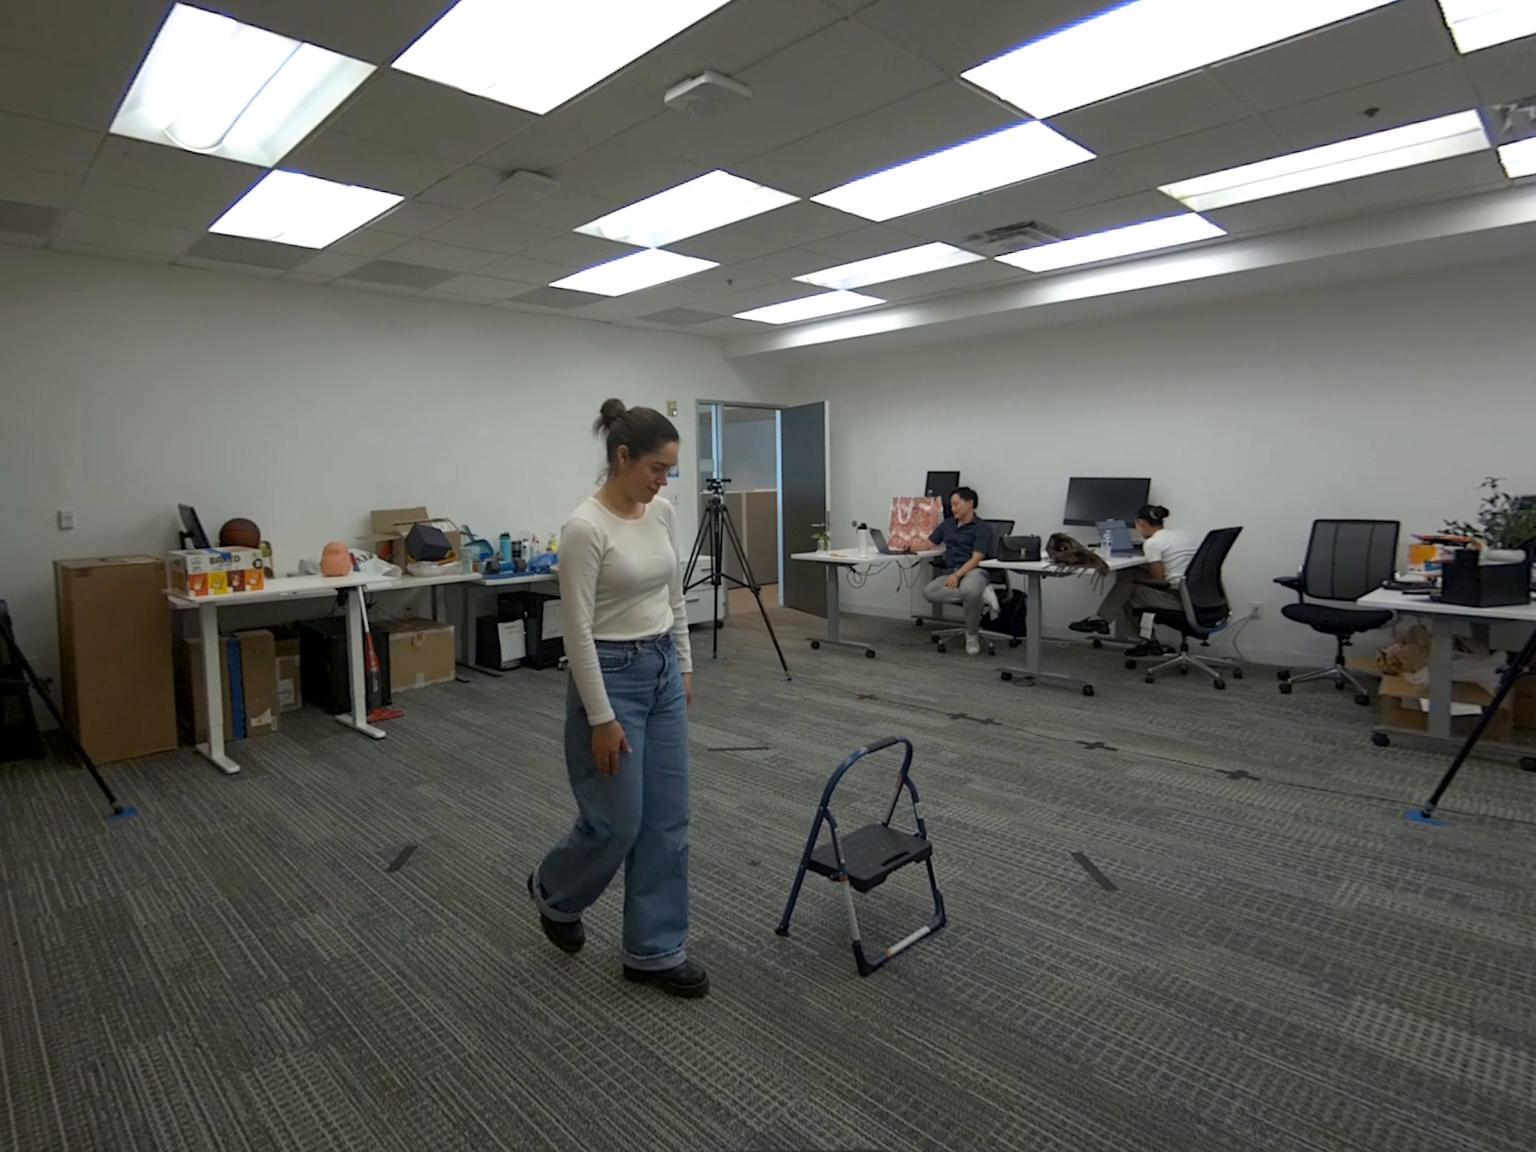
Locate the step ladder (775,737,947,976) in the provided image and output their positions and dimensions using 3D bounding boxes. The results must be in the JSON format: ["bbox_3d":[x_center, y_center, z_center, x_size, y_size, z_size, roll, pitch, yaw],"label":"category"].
[{"bbox_3d":[0.289,0.791,2.627,0.419,0.604,0.360,-6,6,-45],"label":"step ladder"}]
